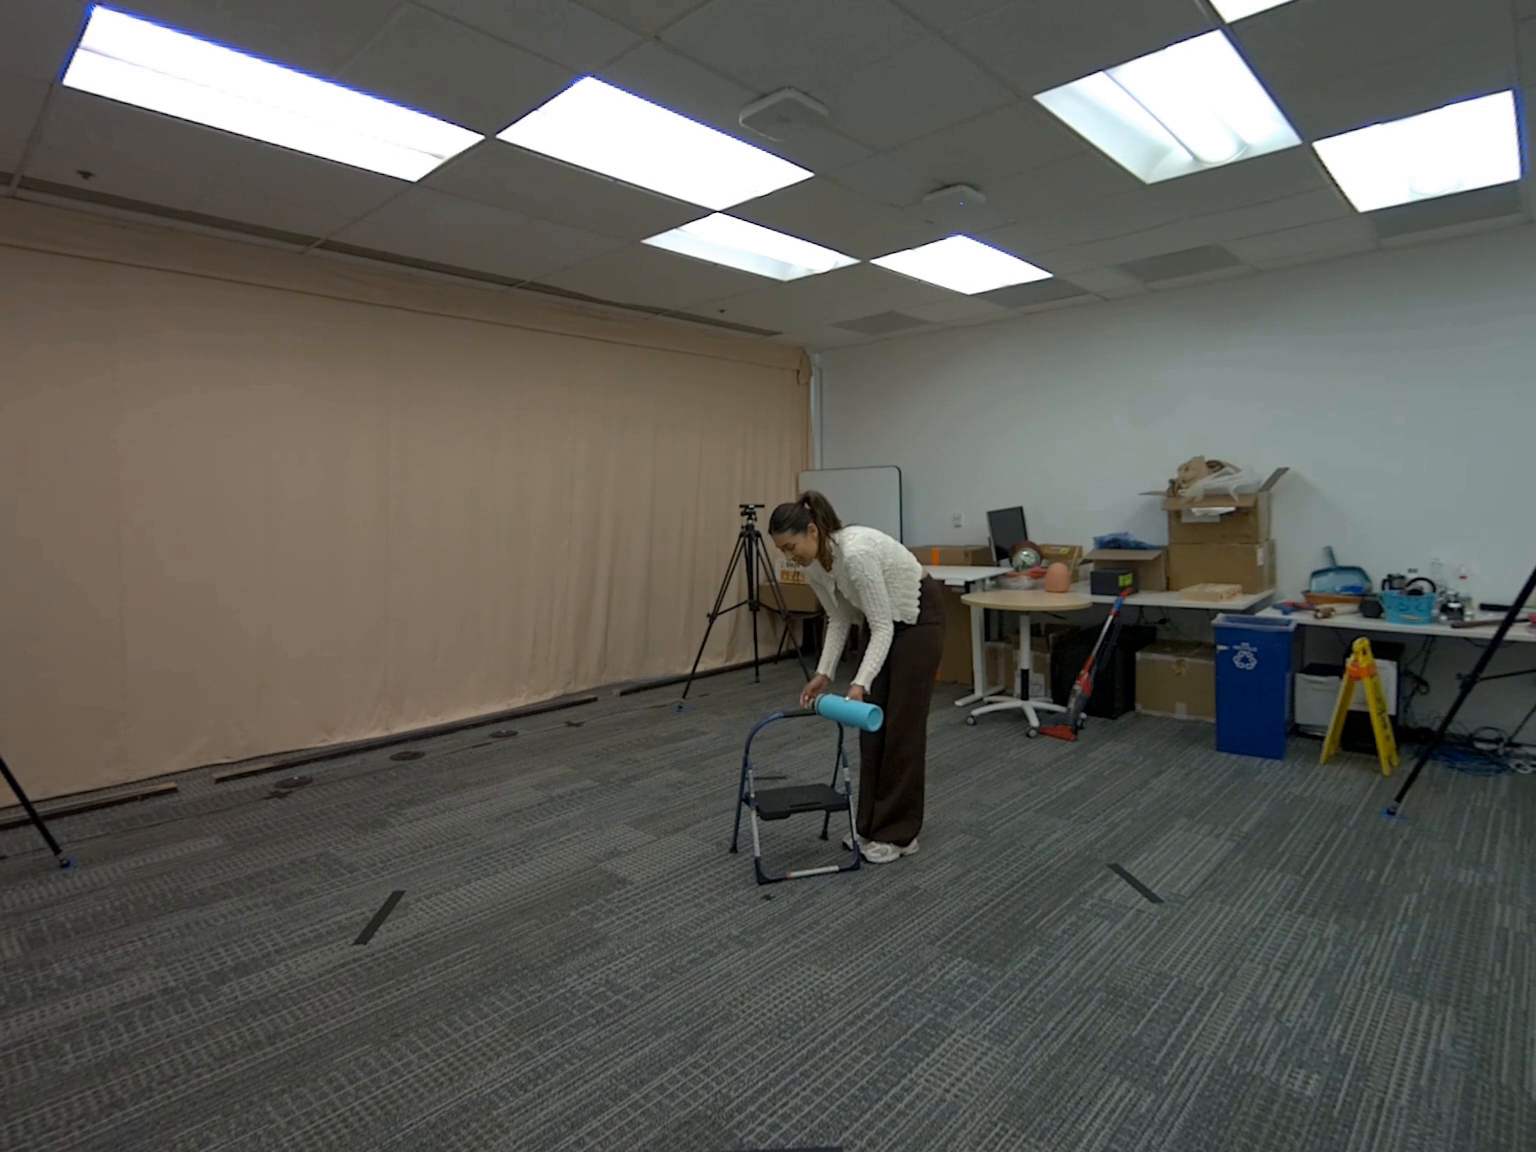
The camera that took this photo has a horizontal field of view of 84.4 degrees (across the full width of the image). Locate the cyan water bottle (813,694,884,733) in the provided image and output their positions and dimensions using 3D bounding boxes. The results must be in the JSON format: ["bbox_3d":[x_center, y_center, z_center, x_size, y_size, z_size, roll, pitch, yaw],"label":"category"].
[{"bbox_3d":[0.272,0.479,2.970,0.089,0.092,0.293,-4,6,-41],"label":"cyan water bottle"}]
